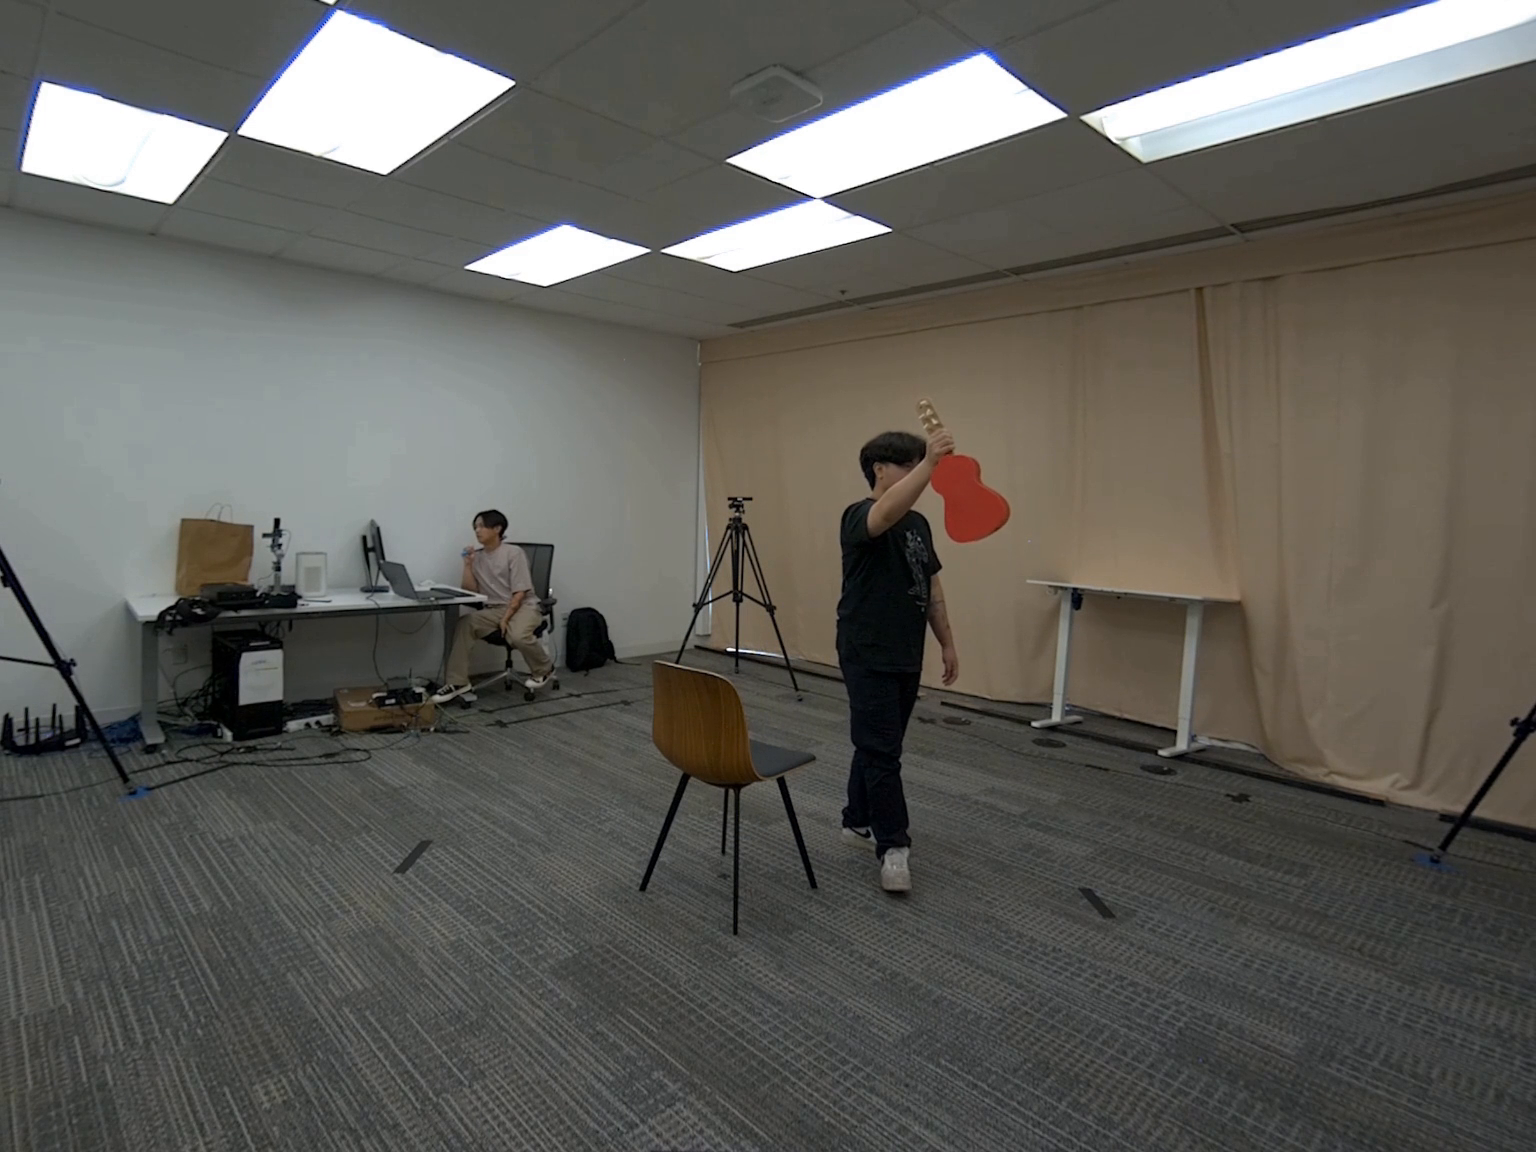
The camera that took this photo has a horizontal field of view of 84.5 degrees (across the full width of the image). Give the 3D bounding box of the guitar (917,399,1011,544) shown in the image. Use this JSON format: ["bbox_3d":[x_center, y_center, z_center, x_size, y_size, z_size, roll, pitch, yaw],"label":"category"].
[{"bbox_3d":[0.552,-0.331,2.652,0.194,0.508,0.069,-39,-23,27],"label":"guitar"}]
